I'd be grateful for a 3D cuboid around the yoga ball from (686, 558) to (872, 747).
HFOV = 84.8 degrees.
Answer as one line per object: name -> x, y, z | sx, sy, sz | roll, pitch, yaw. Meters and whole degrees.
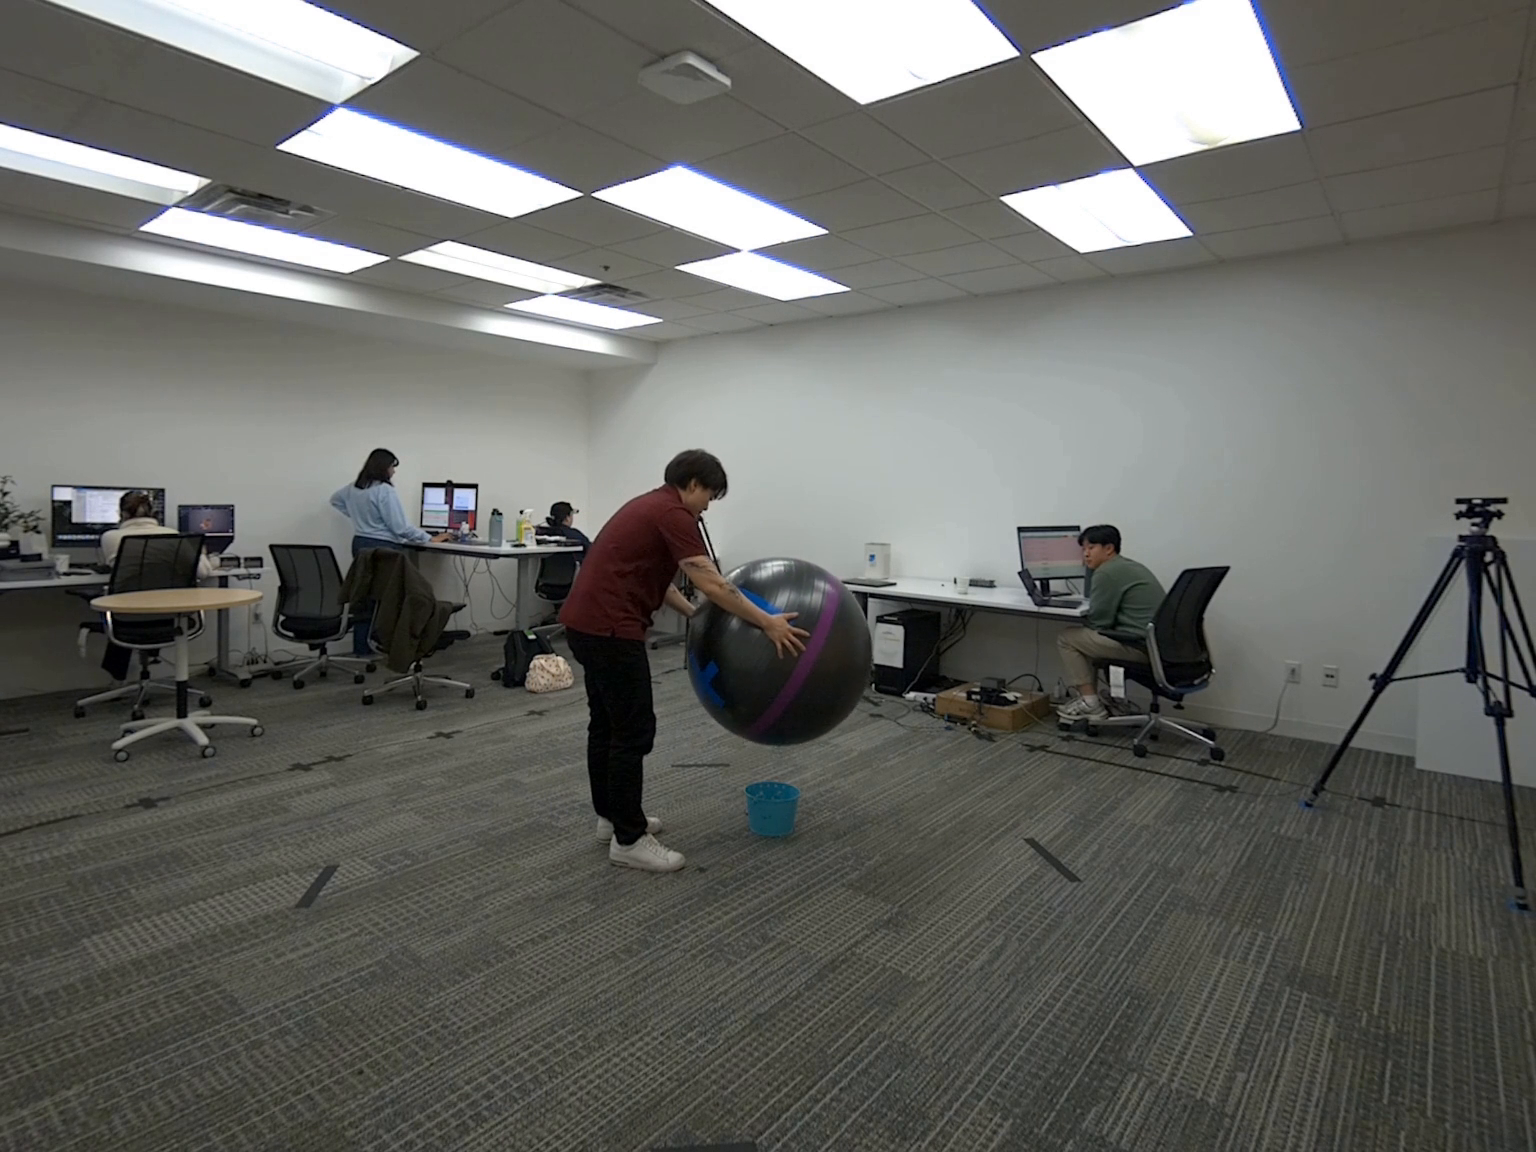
yoga ball -> 0.038, 0.302, 3.485 | 0.757, 0.755, 0.762 | 1, 4, -2
